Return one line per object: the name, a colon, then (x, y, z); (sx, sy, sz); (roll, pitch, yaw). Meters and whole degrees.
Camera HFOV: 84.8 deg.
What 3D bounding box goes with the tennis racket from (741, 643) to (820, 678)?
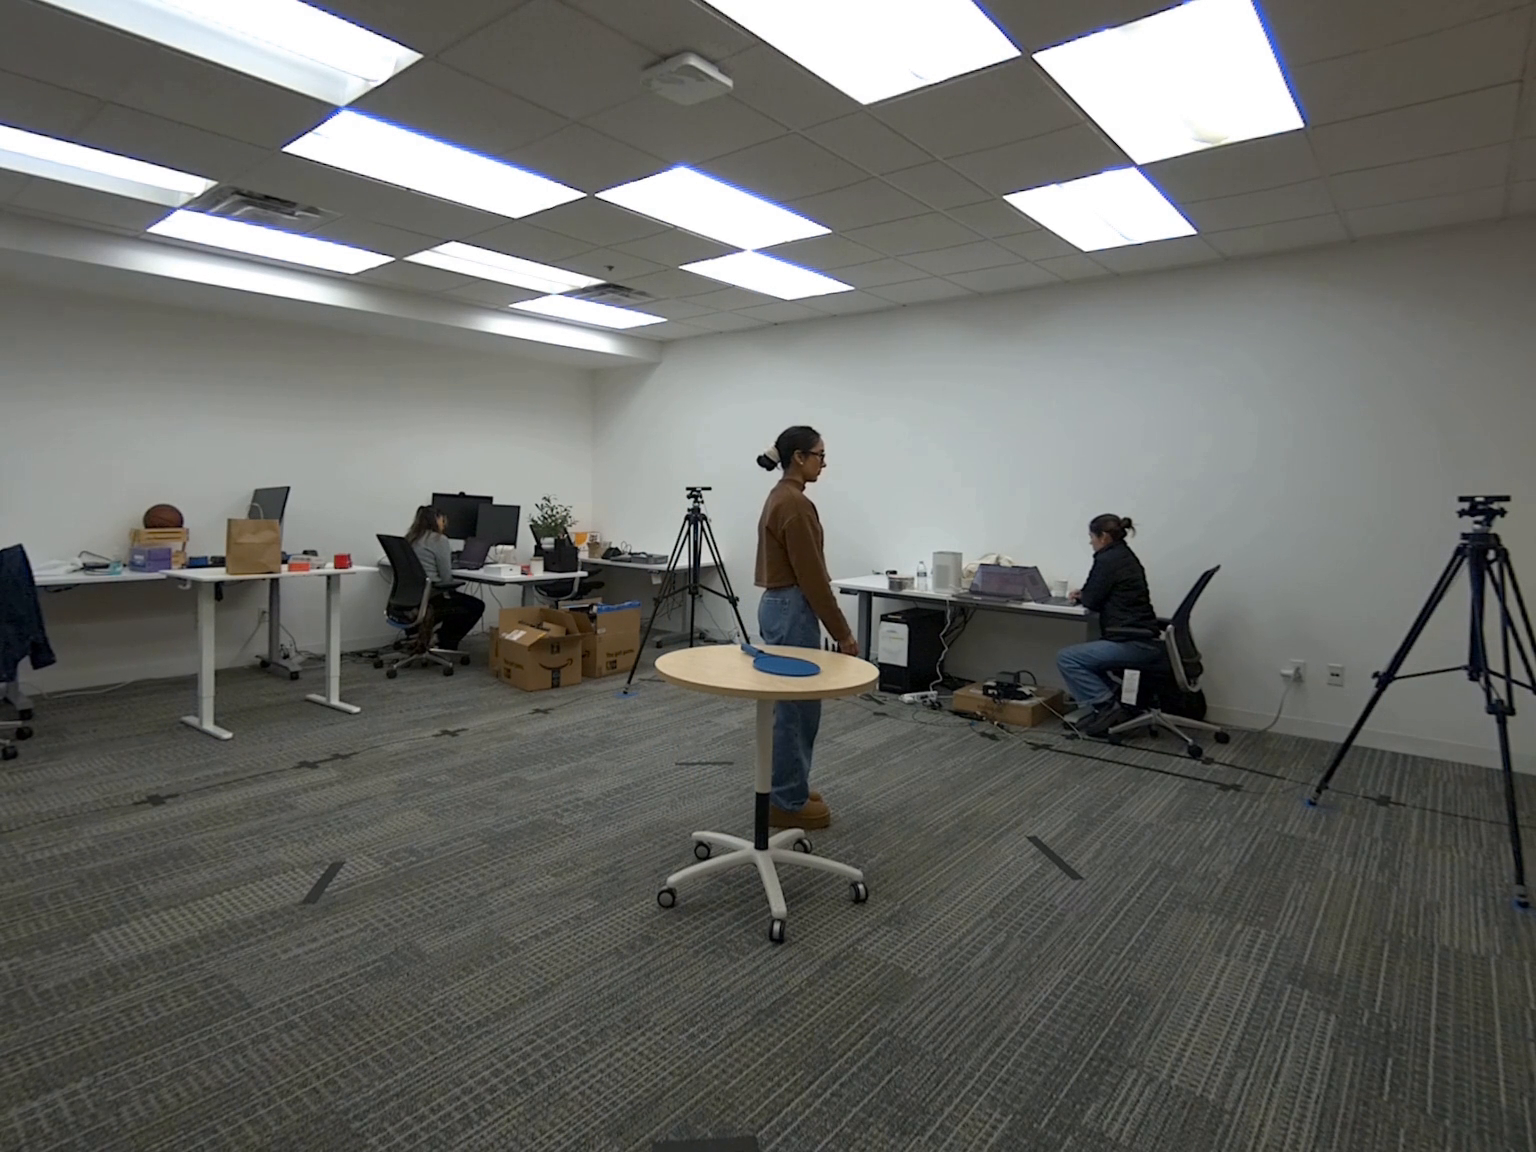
tennis racket: (0.030, 0.294, 2.962); (0.209, 0.031, 0.445); (-3, 8, -25)
